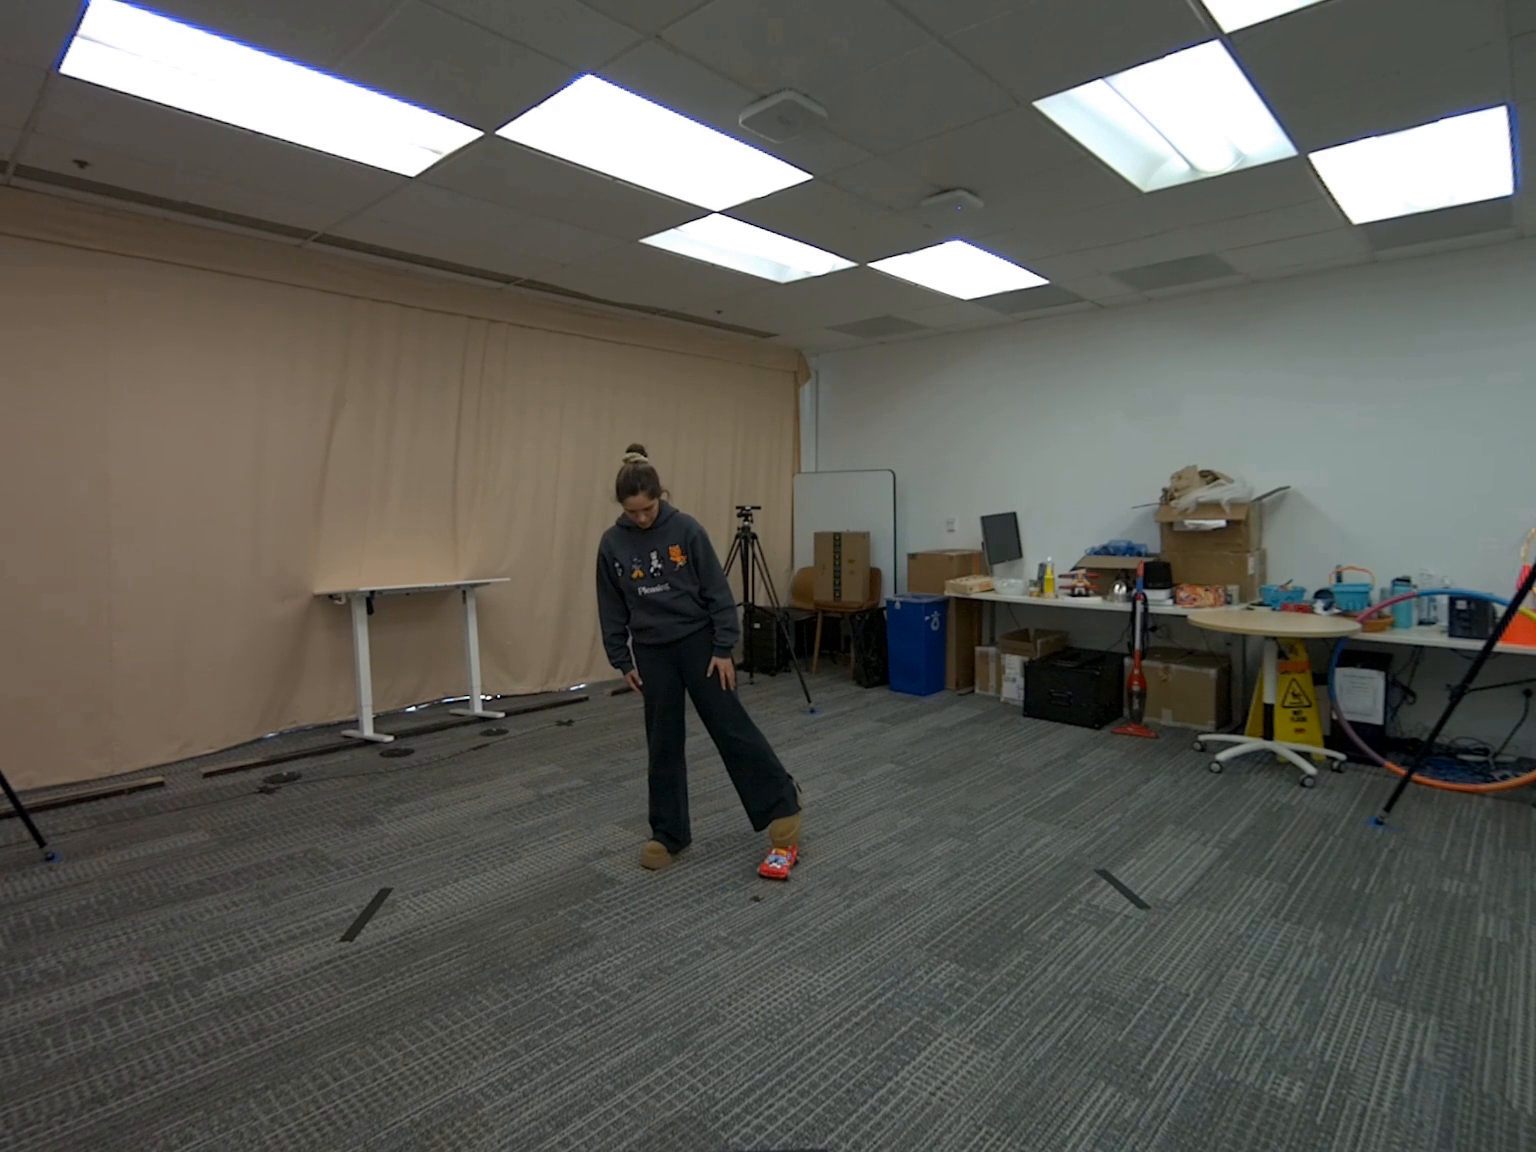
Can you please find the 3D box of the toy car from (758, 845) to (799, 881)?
[{"bbox_3d":[0.071,1.090,3.227,0.133,0.082,0.251,-1,13,19],"label":"toy car"}]
